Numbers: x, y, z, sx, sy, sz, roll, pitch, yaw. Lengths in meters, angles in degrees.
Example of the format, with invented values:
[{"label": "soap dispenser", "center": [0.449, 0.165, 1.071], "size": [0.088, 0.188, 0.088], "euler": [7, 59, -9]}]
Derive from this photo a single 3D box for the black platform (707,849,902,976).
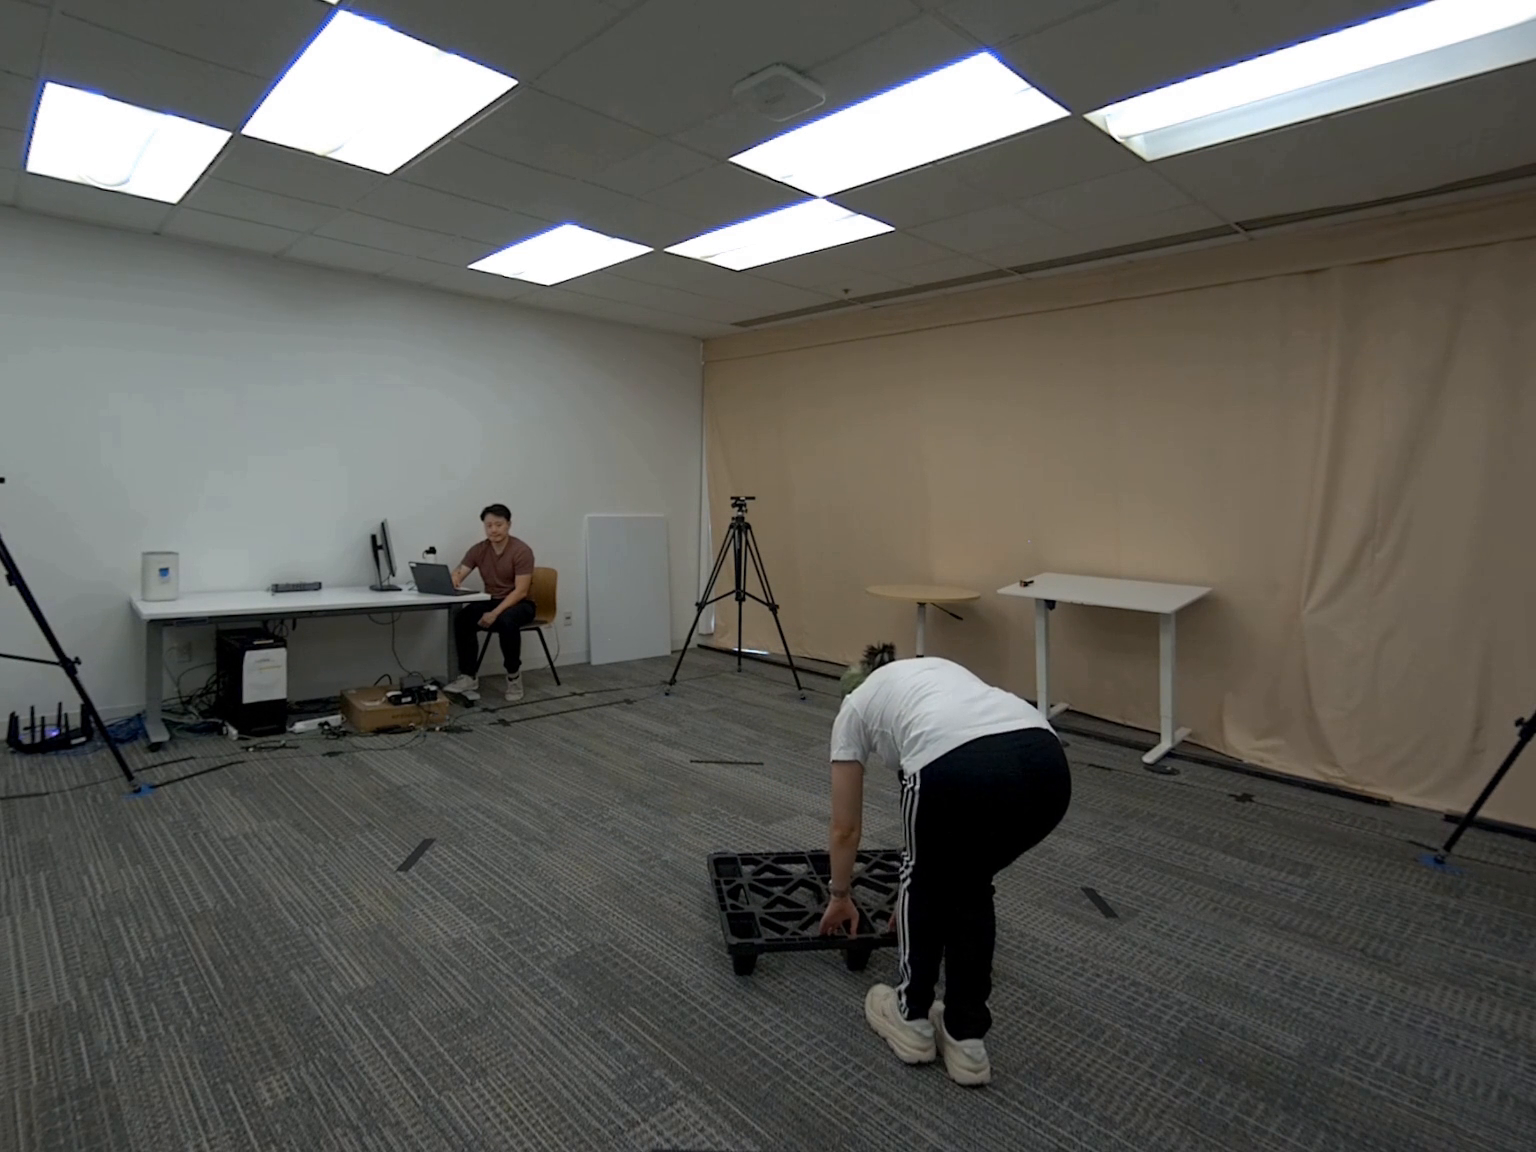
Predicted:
[{"label": "black platform", "center": [0.220, 1.080, 2.726], "size": [0.800, 0.143, 0.612], "euler": [1, 7, -9]}]
